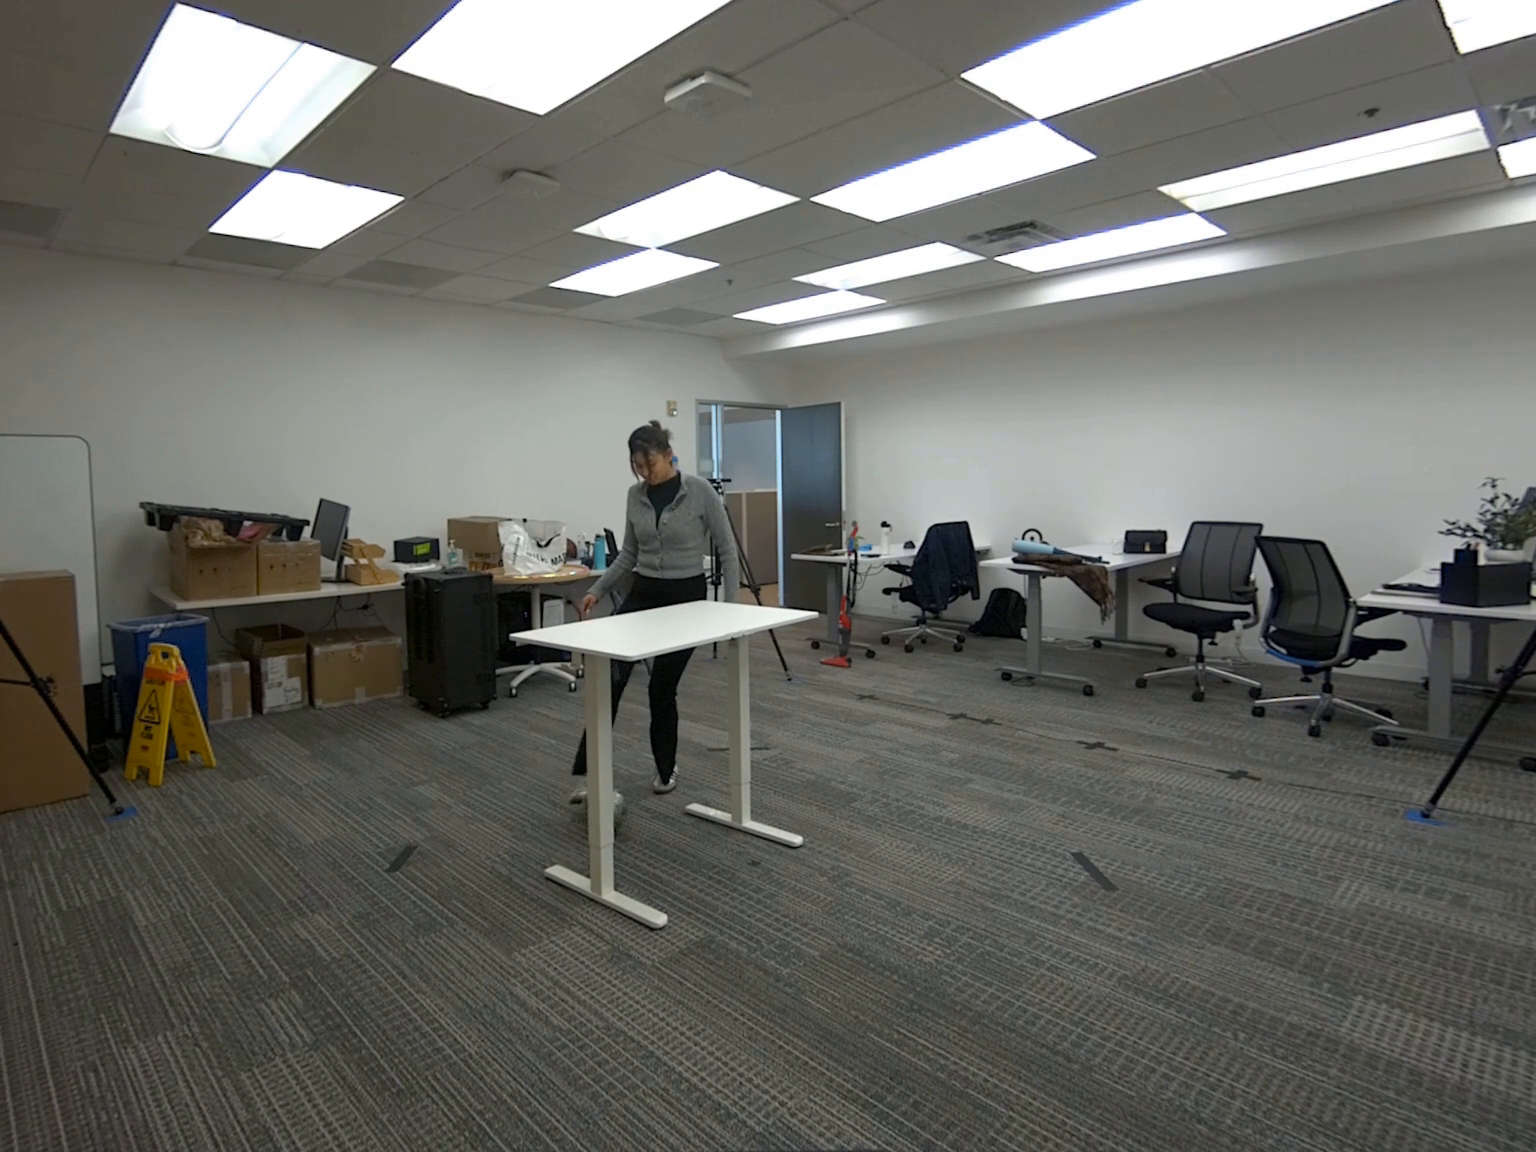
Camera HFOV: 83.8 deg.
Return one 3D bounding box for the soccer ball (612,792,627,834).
[{"bbox_3d":[-0.680,0.932,3.414,0.187,0.187,0.188,-1,5,-2],"label":"soccer ball"}]
